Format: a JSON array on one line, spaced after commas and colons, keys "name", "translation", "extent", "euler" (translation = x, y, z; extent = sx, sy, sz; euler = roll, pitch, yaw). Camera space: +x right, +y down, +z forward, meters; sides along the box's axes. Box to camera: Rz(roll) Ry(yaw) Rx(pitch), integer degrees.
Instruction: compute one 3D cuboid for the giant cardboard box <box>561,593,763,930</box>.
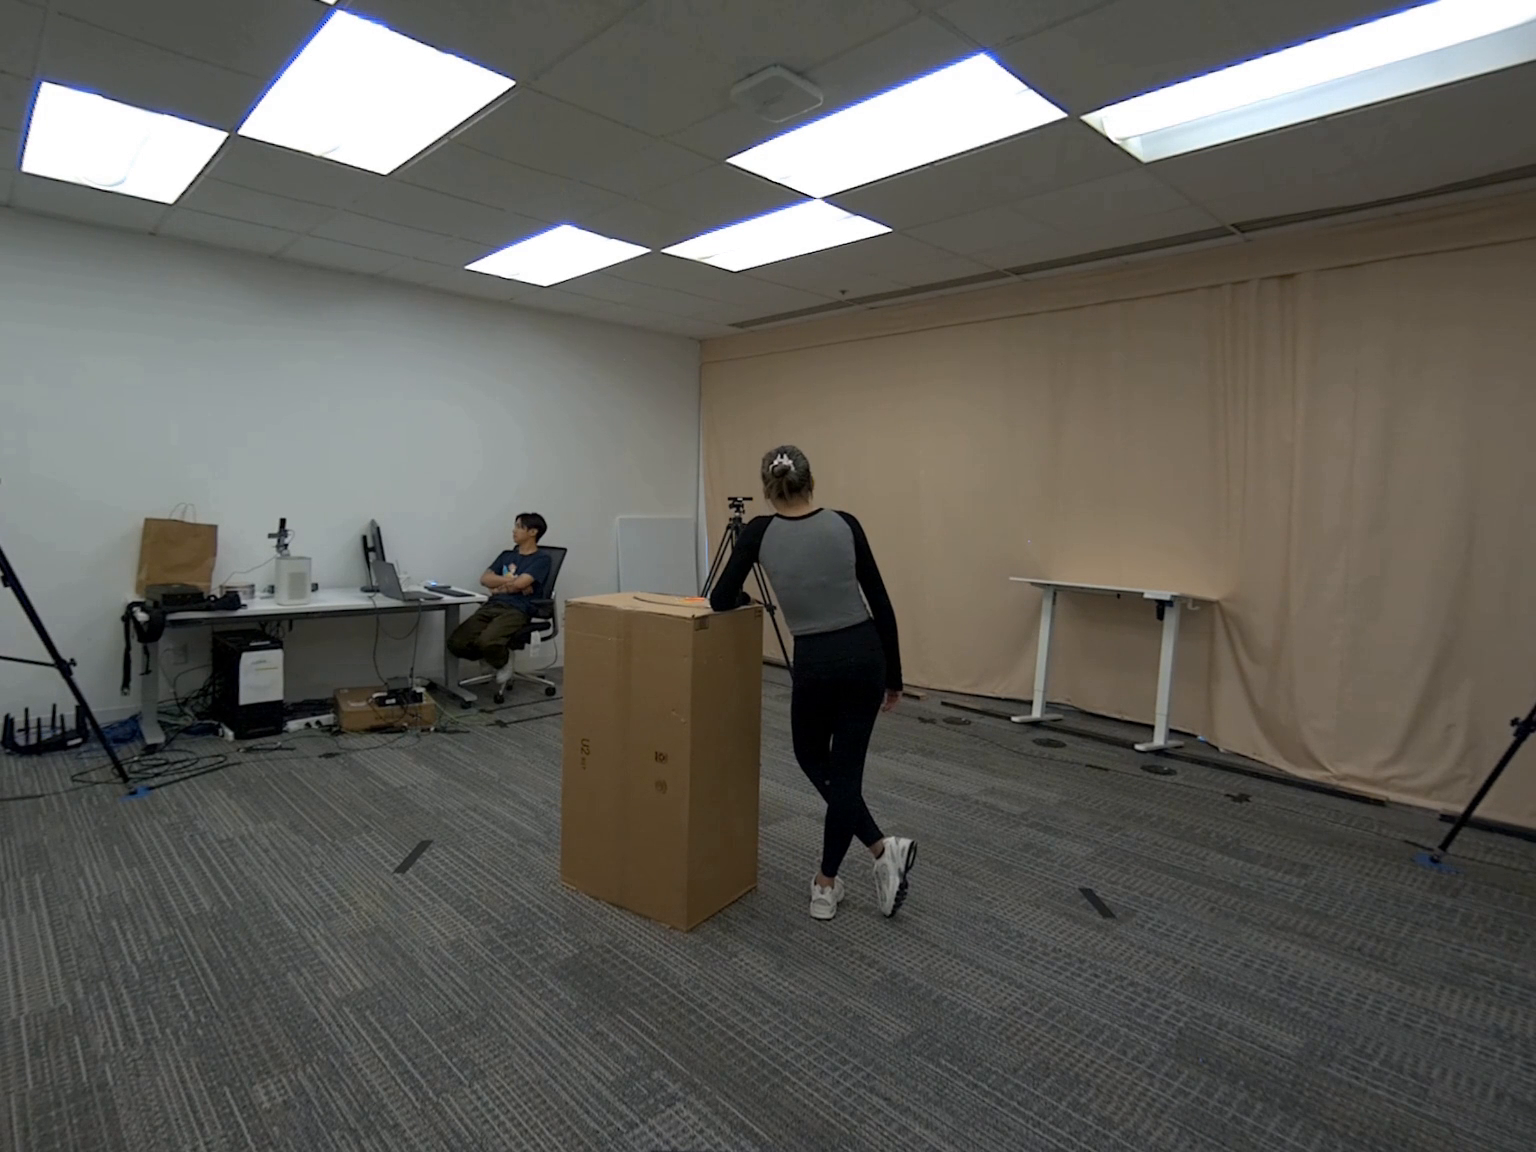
[{"name": "giant cardboard box", "translation": [-0.386, 0.603, 3.000], "extent": [0.591, 1.023, 0.417], "euler": [4, 4, 34]}]
